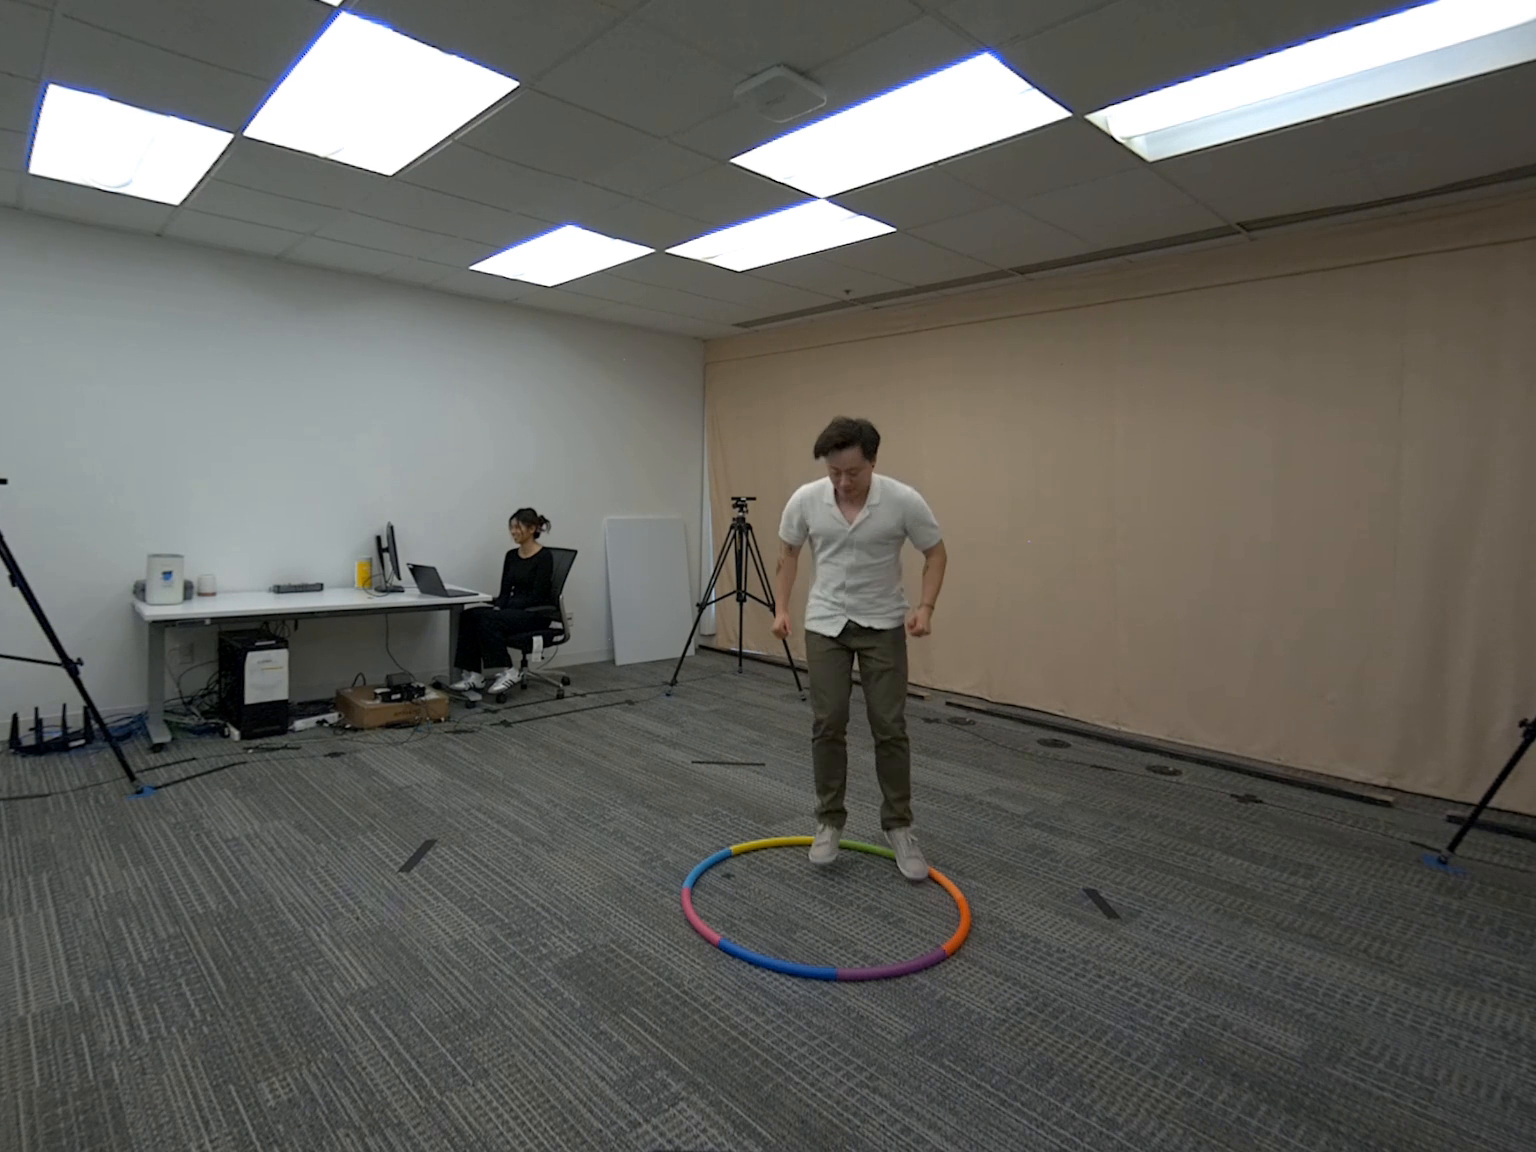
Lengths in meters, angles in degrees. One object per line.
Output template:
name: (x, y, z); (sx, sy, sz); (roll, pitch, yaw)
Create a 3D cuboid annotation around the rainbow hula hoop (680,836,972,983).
rainbow hula hoop: (0.186, 1.103, 2.924); (0.978, 0.035, 0.982); (1, 5, -1)
